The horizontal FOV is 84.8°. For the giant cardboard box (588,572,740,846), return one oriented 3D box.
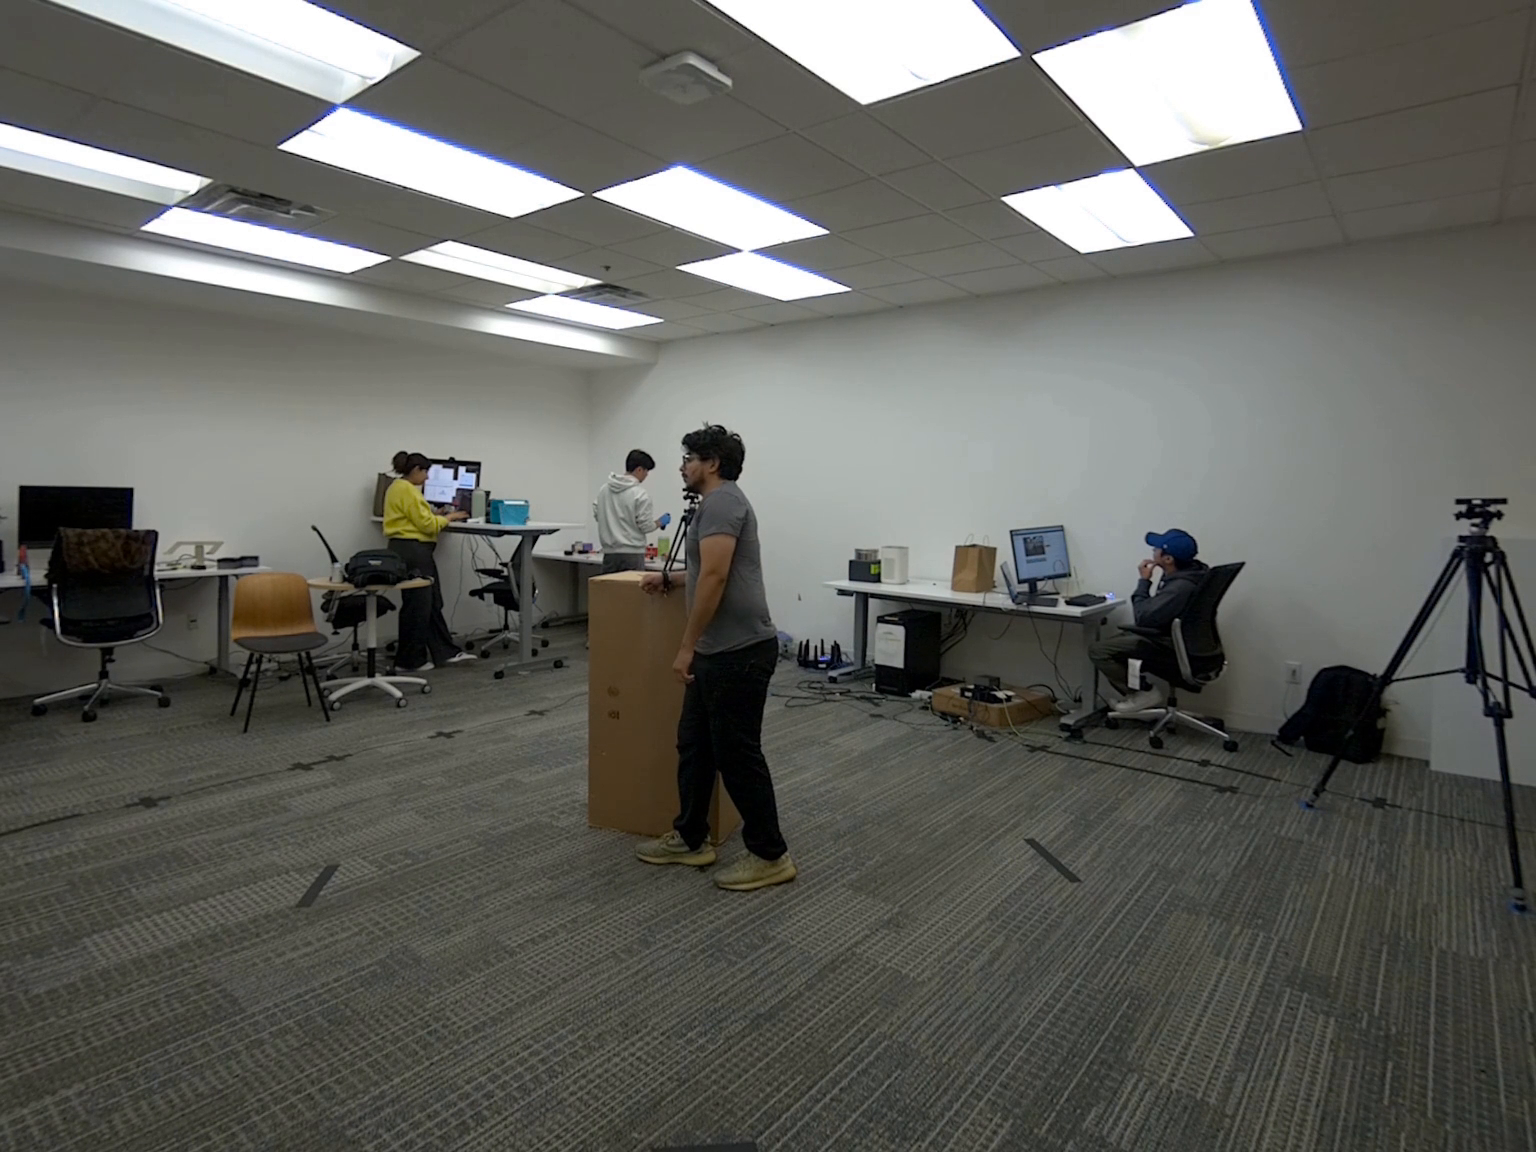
[{"bbox_3d":[-0.418,0.515,3.578,0.590,1.023,0.418,2,4,20],"label":"giant cardboard box"}]
